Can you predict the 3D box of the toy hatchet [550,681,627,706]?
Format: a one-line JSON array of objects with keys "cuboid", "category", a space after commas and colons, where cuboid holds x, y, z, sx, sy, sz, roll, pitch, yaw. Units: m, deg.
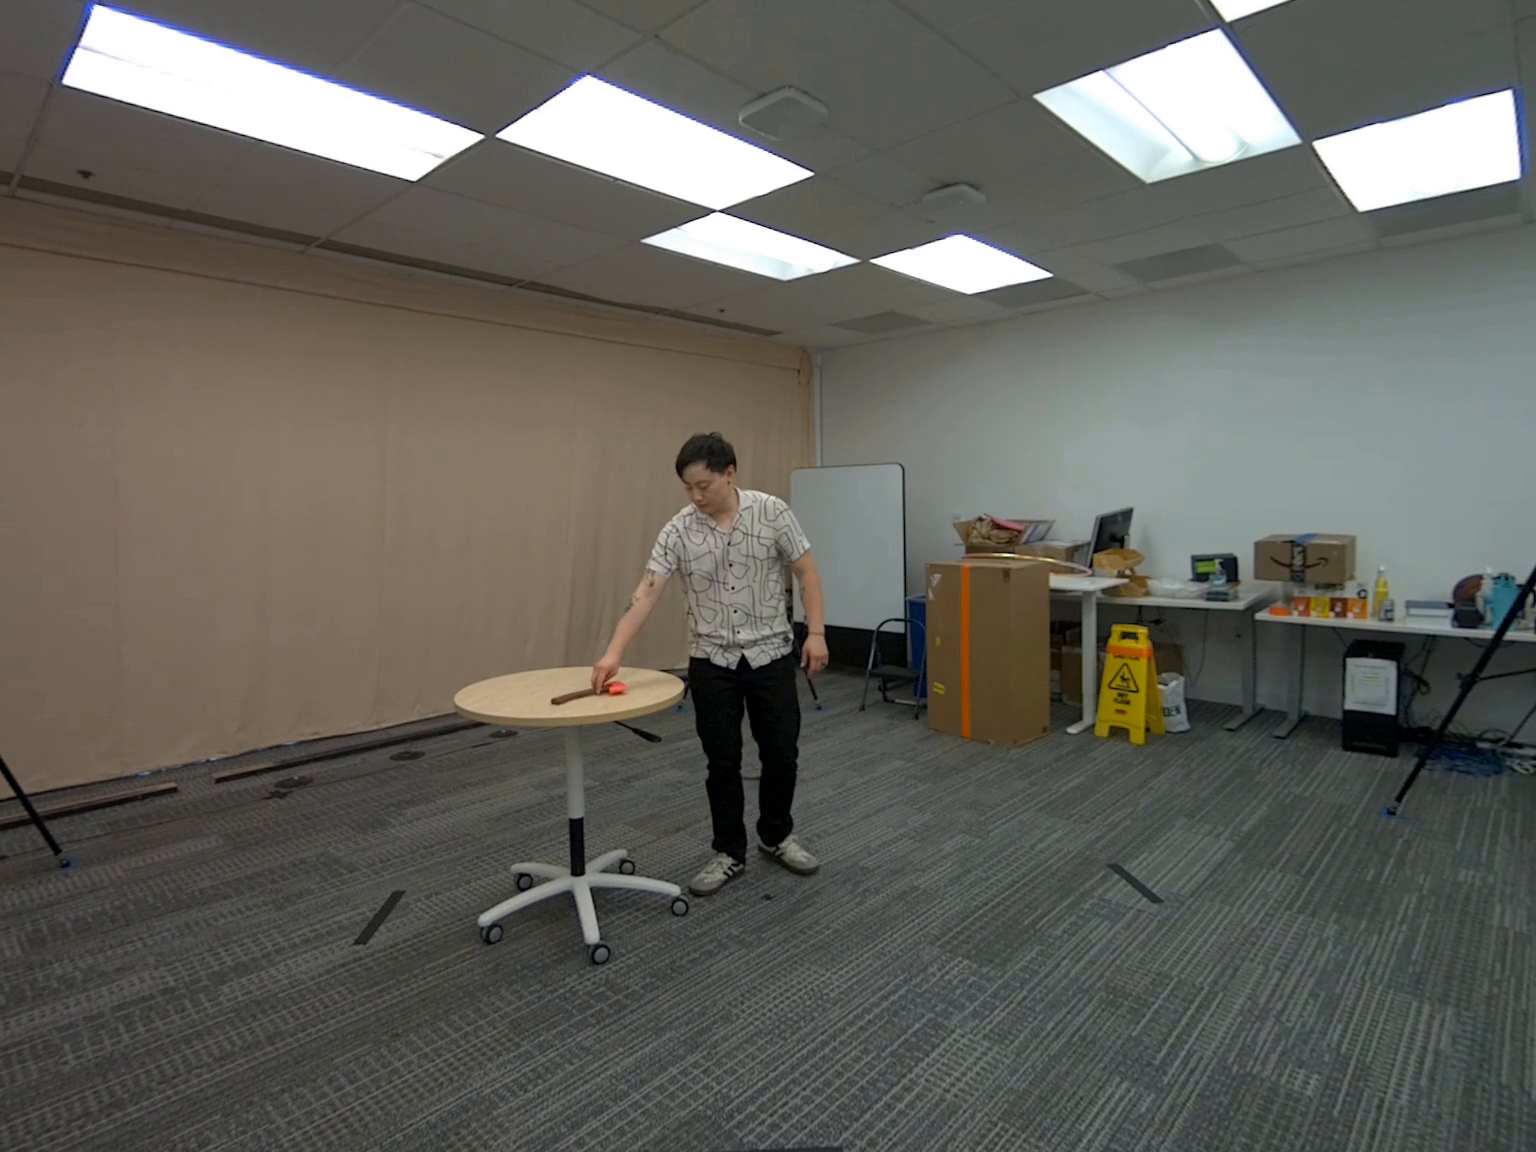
[{"cuboid": [-0.561, 0.381, 2.716, 0.135, 0.029, 0.263, -2, 4, 33], "category": "toy hatchet"}]
